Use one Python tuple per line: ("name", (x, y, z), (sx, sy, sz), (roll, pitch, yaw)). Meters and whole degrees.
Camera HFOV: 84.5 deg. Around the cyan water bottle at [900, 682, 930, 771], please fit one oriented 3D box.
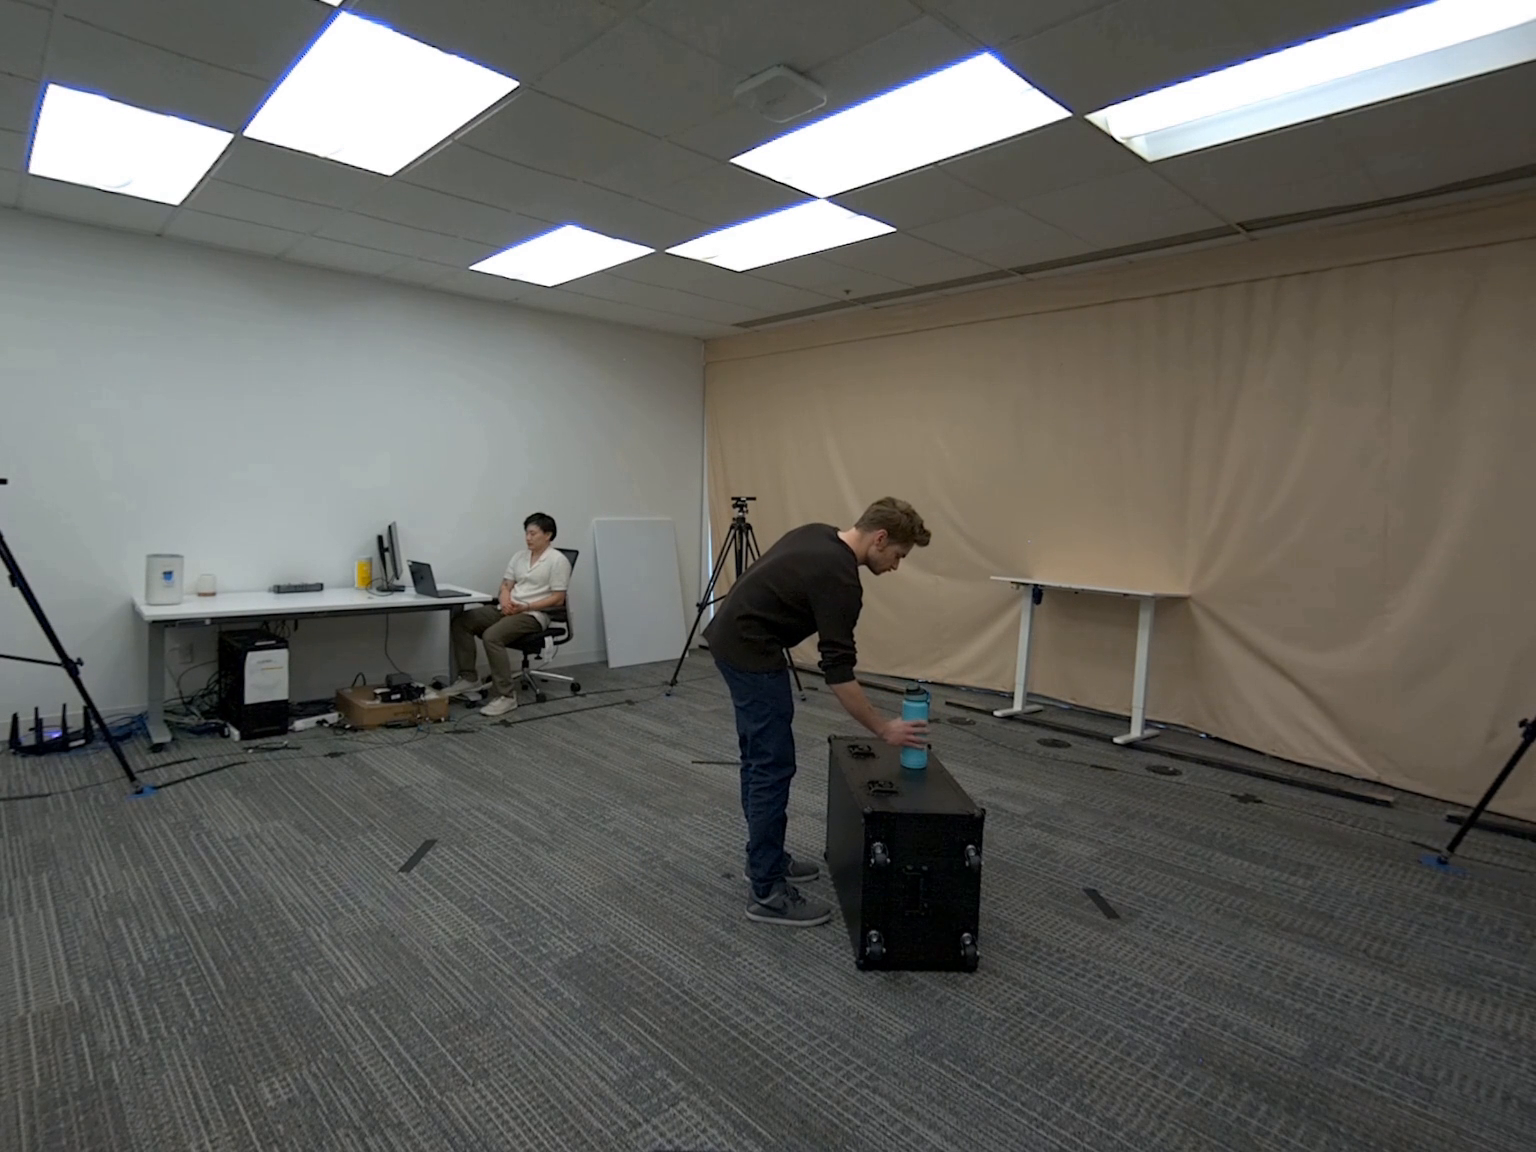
("cyan water bottle", (0.504, 0.517, 2.916), (0.092, 0.283, 0.092), (3, 3, -2))
